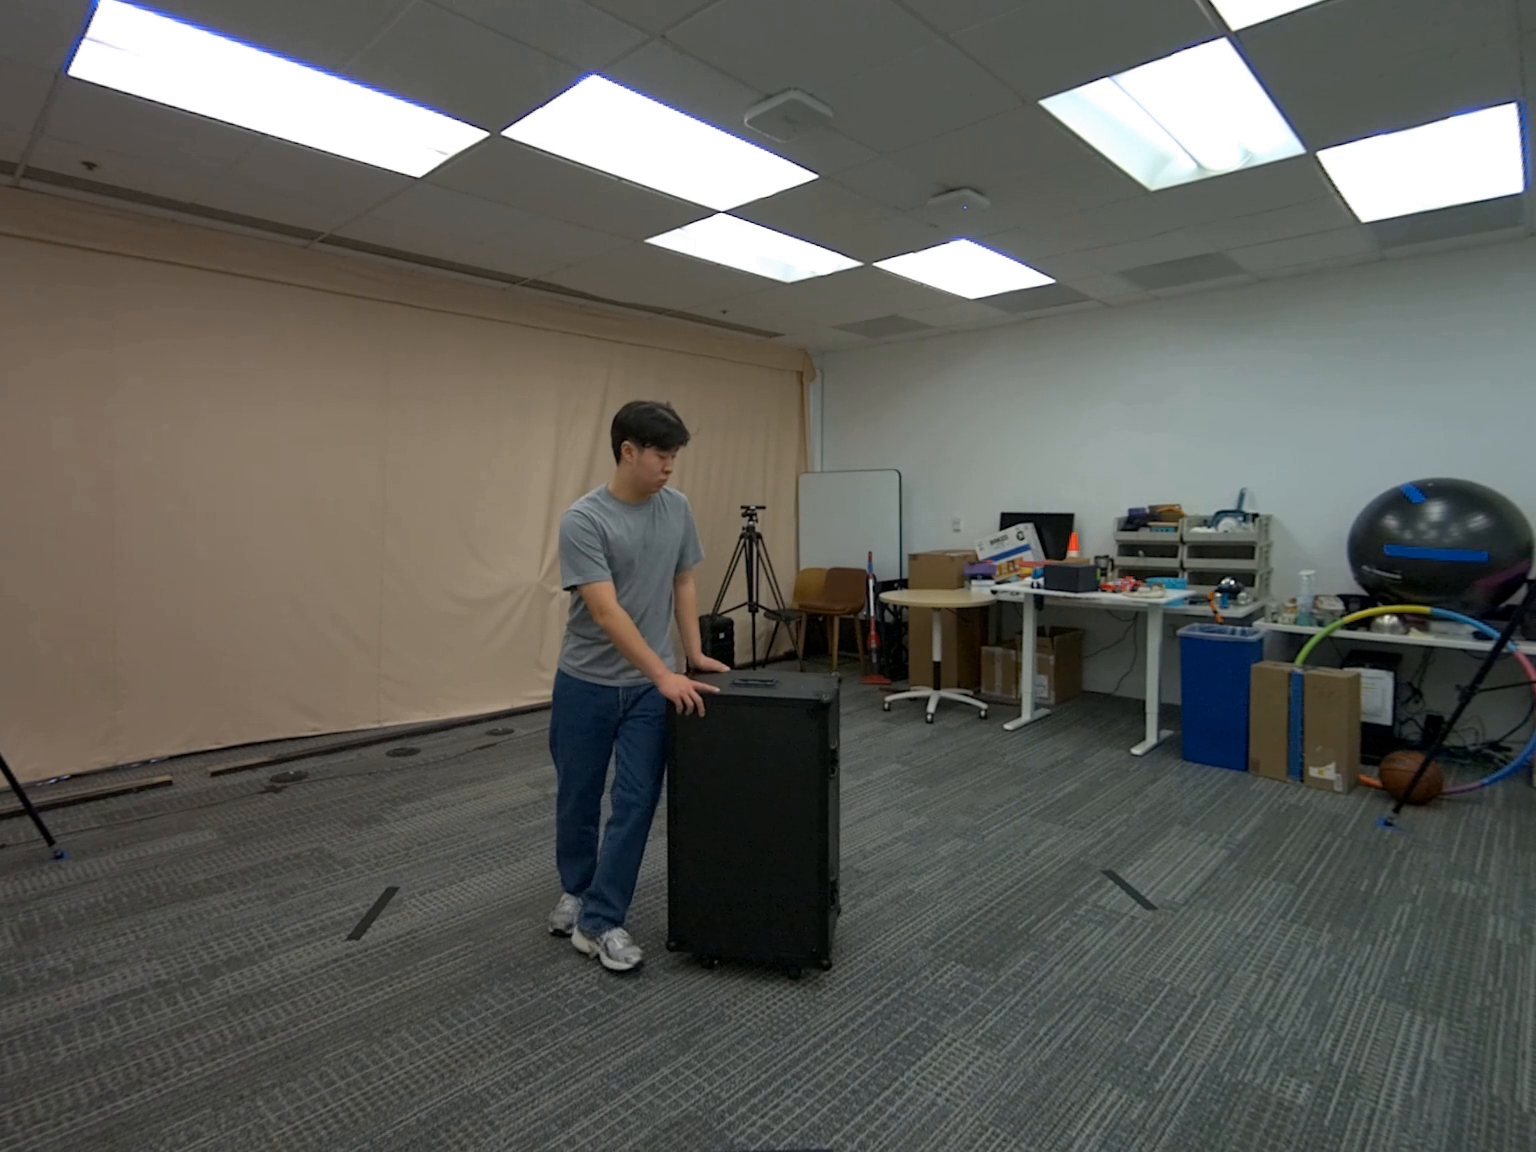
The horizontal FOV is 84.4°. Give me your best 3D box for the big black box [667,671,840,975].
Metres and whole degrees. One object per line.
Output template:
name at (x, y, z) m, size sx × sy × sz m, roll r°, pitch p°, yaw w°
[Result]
big black box at (-0.027, 0.755, 2.602) m, size 0.529 × 0.860 × 0.391 m, roll 1°, pitch 3°, yaw 13°
